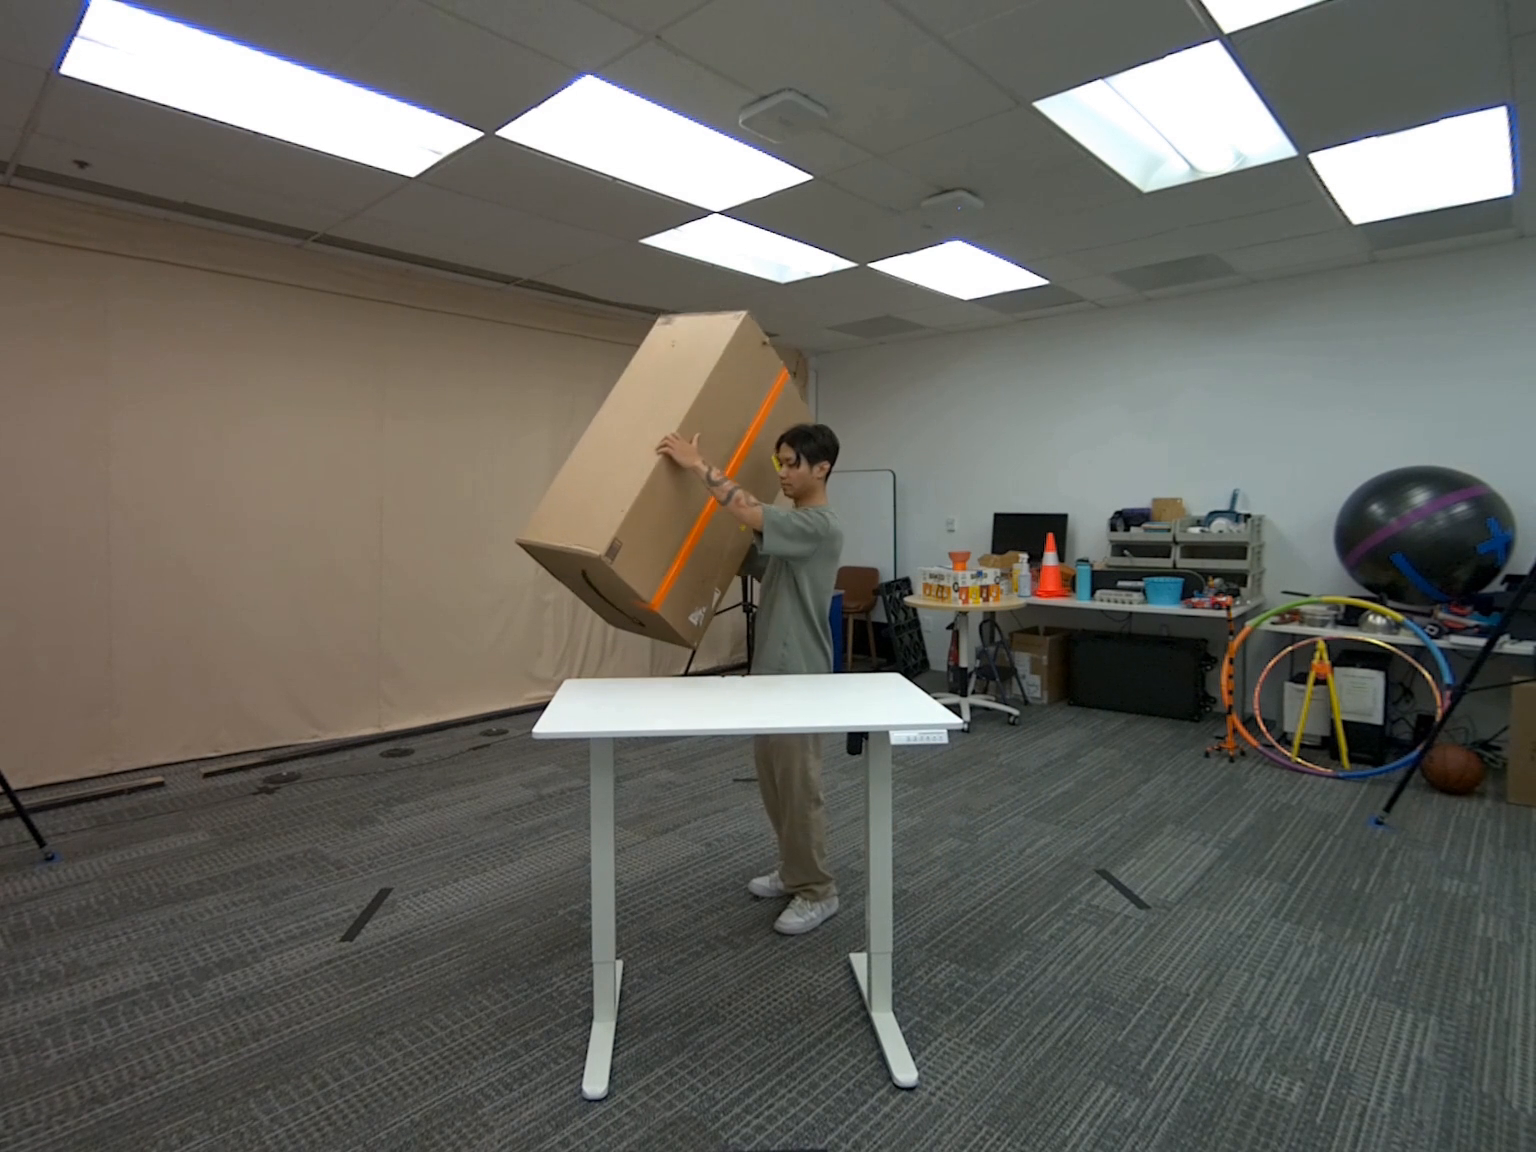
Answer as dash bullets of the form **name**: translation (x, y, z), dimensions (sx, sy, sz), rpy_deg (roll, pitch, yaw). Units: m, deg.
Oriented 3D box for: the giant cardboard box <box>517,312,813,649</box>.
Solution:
- **giant cardboard box**: translation (-0.310, -0.340, 2.971), dimensions (0.441, 1.027, 0.557), rpy_deg (10, -27, 37)
